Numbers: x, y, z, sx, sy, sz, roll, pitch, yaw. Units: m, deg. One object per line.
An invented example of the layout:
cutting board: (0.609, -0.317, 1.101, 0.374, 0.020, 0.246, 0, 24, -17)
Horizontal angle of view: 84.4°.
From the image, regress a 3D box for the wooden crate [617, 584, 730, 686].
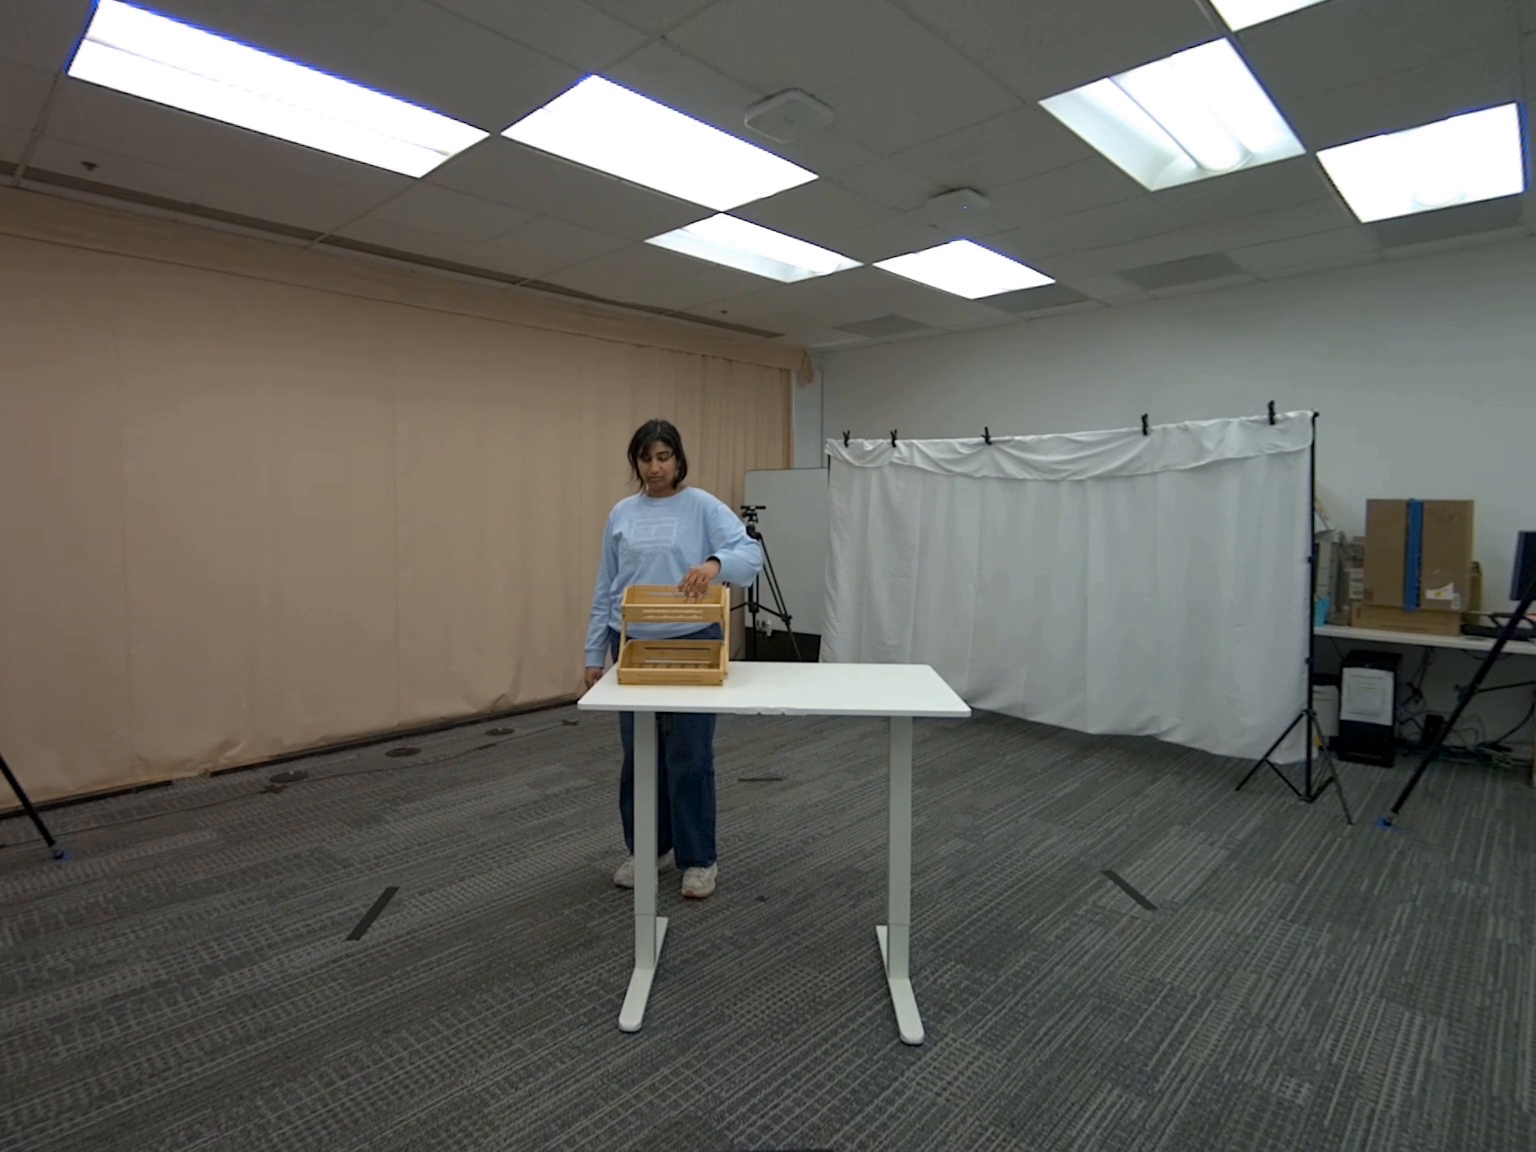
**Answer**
wooden crate: (-0.277, 0.166, 2.519, 0.325, 0.273, 0.302, 1, 3, 1)
